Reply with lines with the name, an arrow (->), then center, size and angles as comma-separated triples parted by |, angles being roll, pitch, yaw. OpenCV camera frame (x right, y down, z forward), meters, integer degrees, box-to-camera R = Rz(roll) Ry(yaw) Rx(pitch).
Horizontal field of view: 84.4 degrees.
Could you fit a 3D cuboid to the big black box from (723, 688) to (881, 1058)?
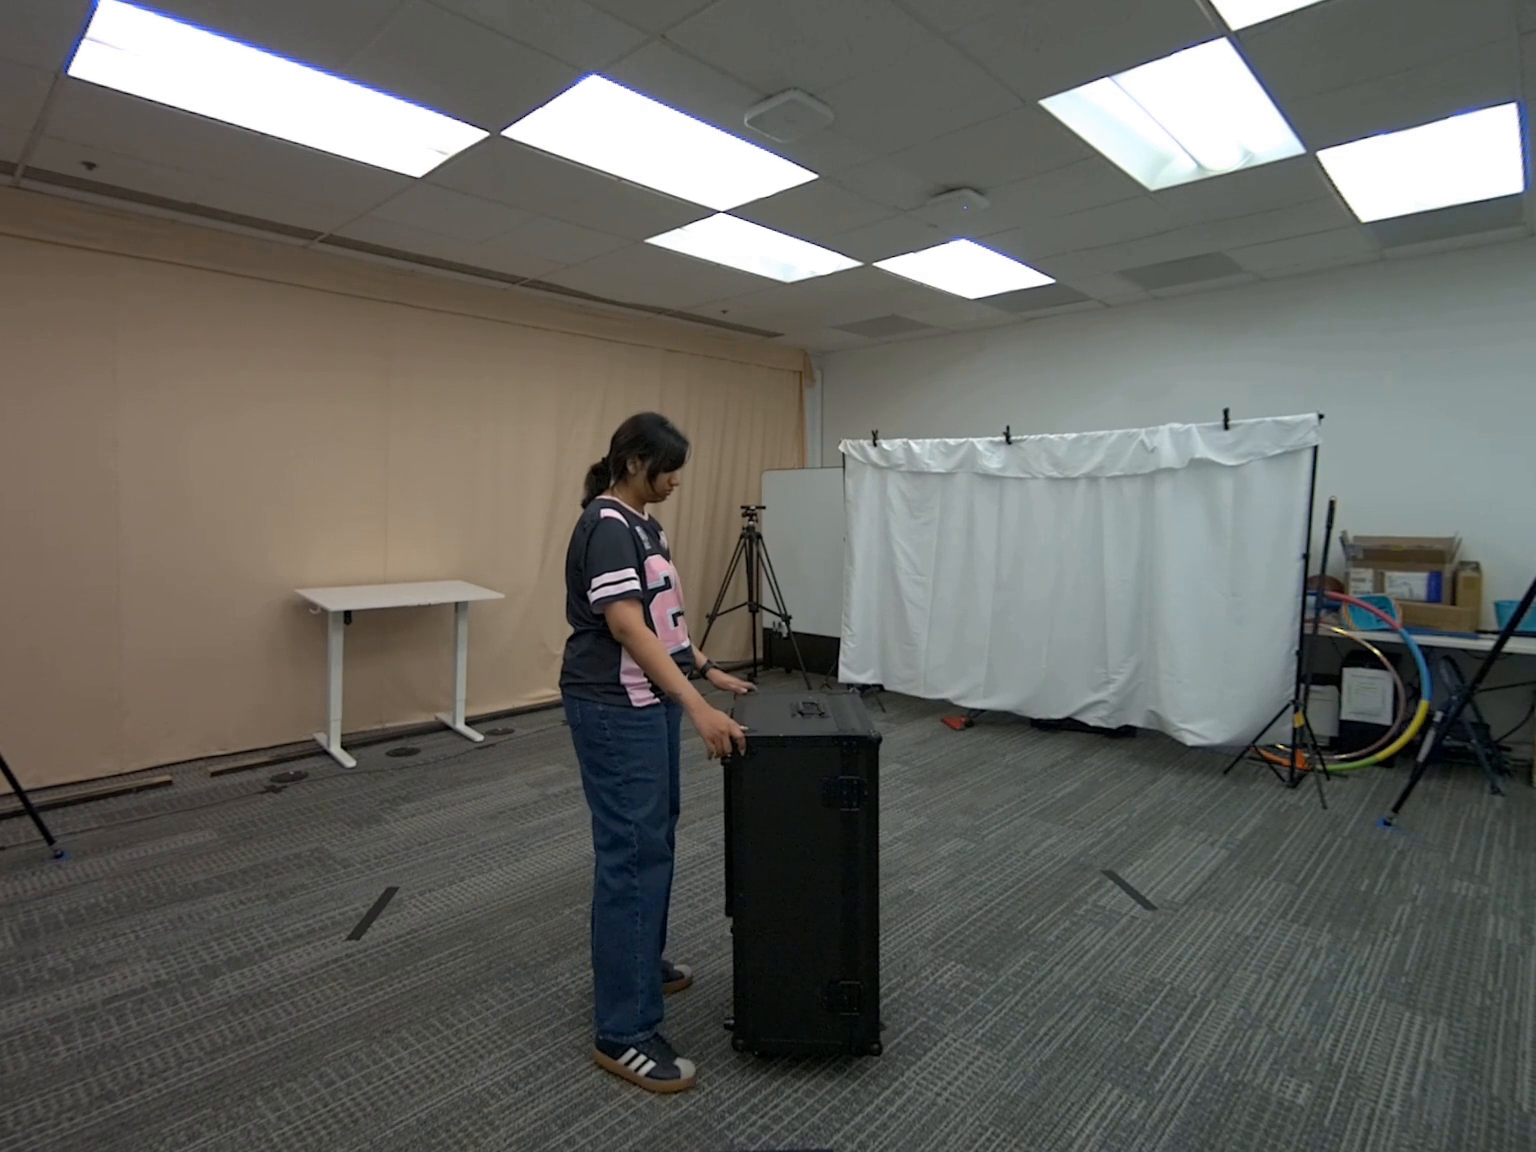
big black box -> 0.092, 0.785, 2.234 | 0.386, 0.867, 0.523 | 0, 3, 1
